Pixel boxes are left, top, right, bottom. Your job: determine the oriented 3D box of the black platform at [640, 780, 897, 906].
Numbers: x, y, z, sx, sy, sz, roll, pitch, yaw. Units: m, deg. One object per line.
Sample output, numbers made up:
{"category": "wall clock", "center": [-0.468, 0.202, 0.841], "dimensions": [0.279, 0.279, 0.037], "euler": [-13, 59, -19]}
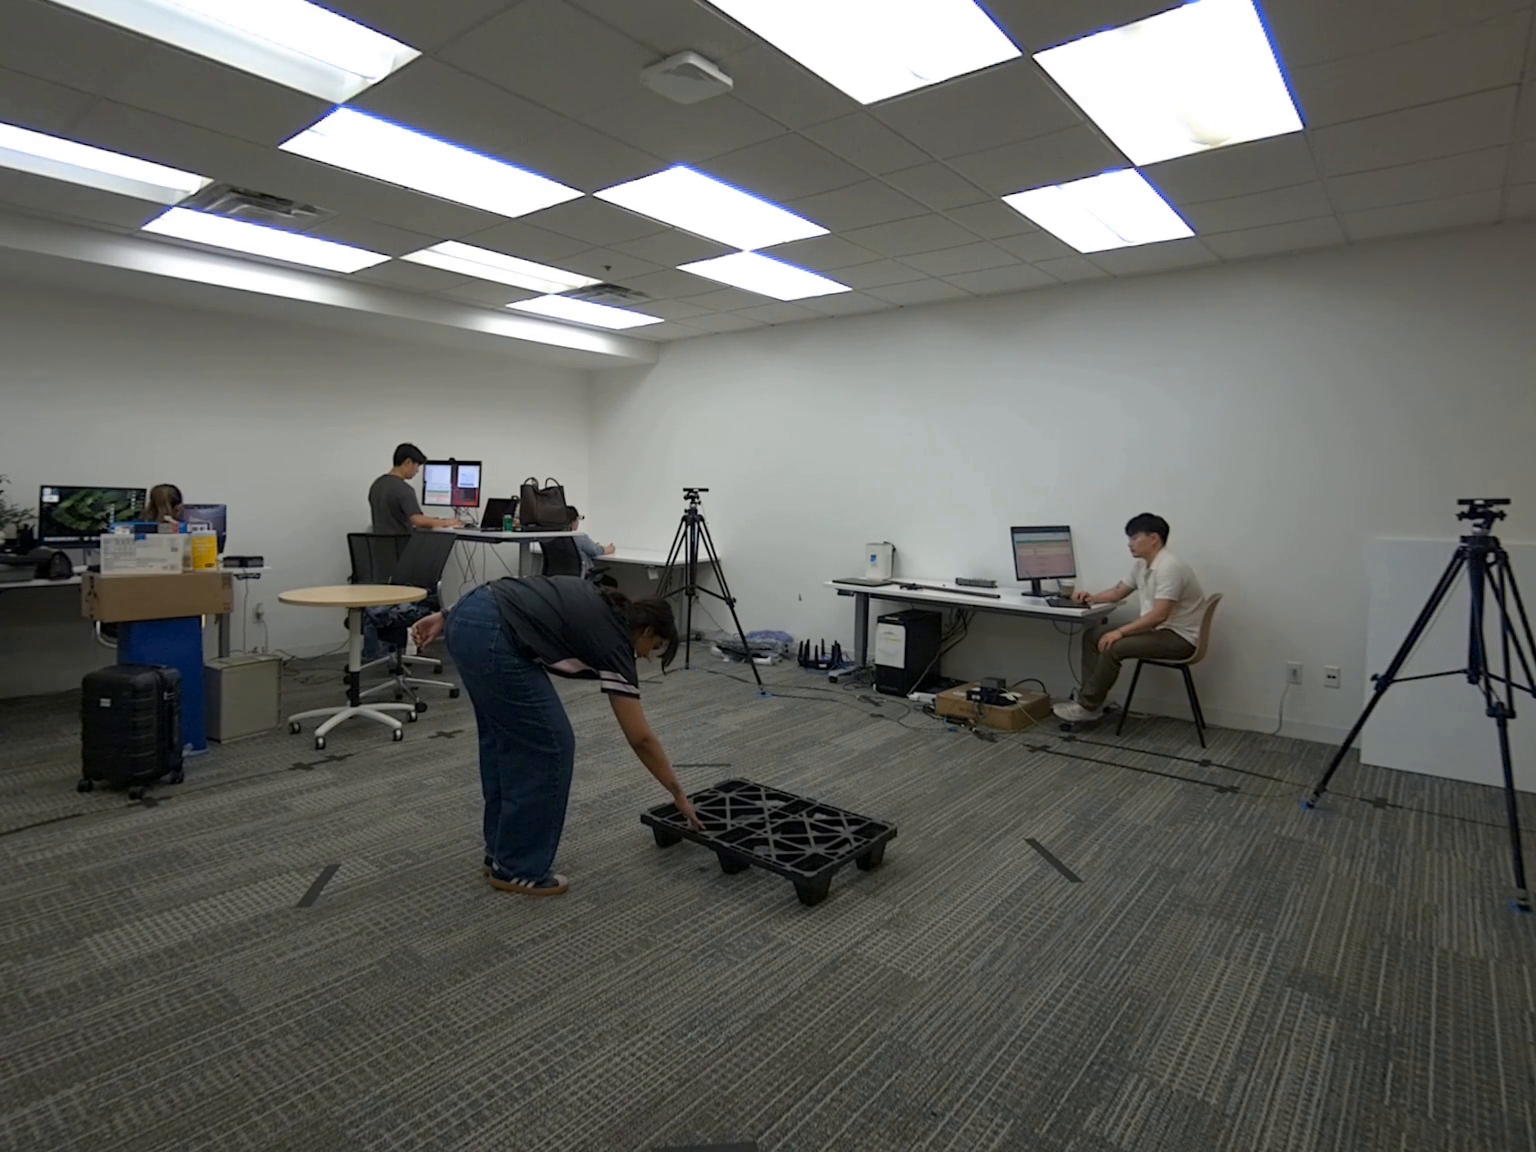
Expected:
{"category": "black platform", "center": [-0.015, 0.994, 3.253], "dimensions": [0.833, 0.143, 0.587], "euler": [6, 7, 39]}
